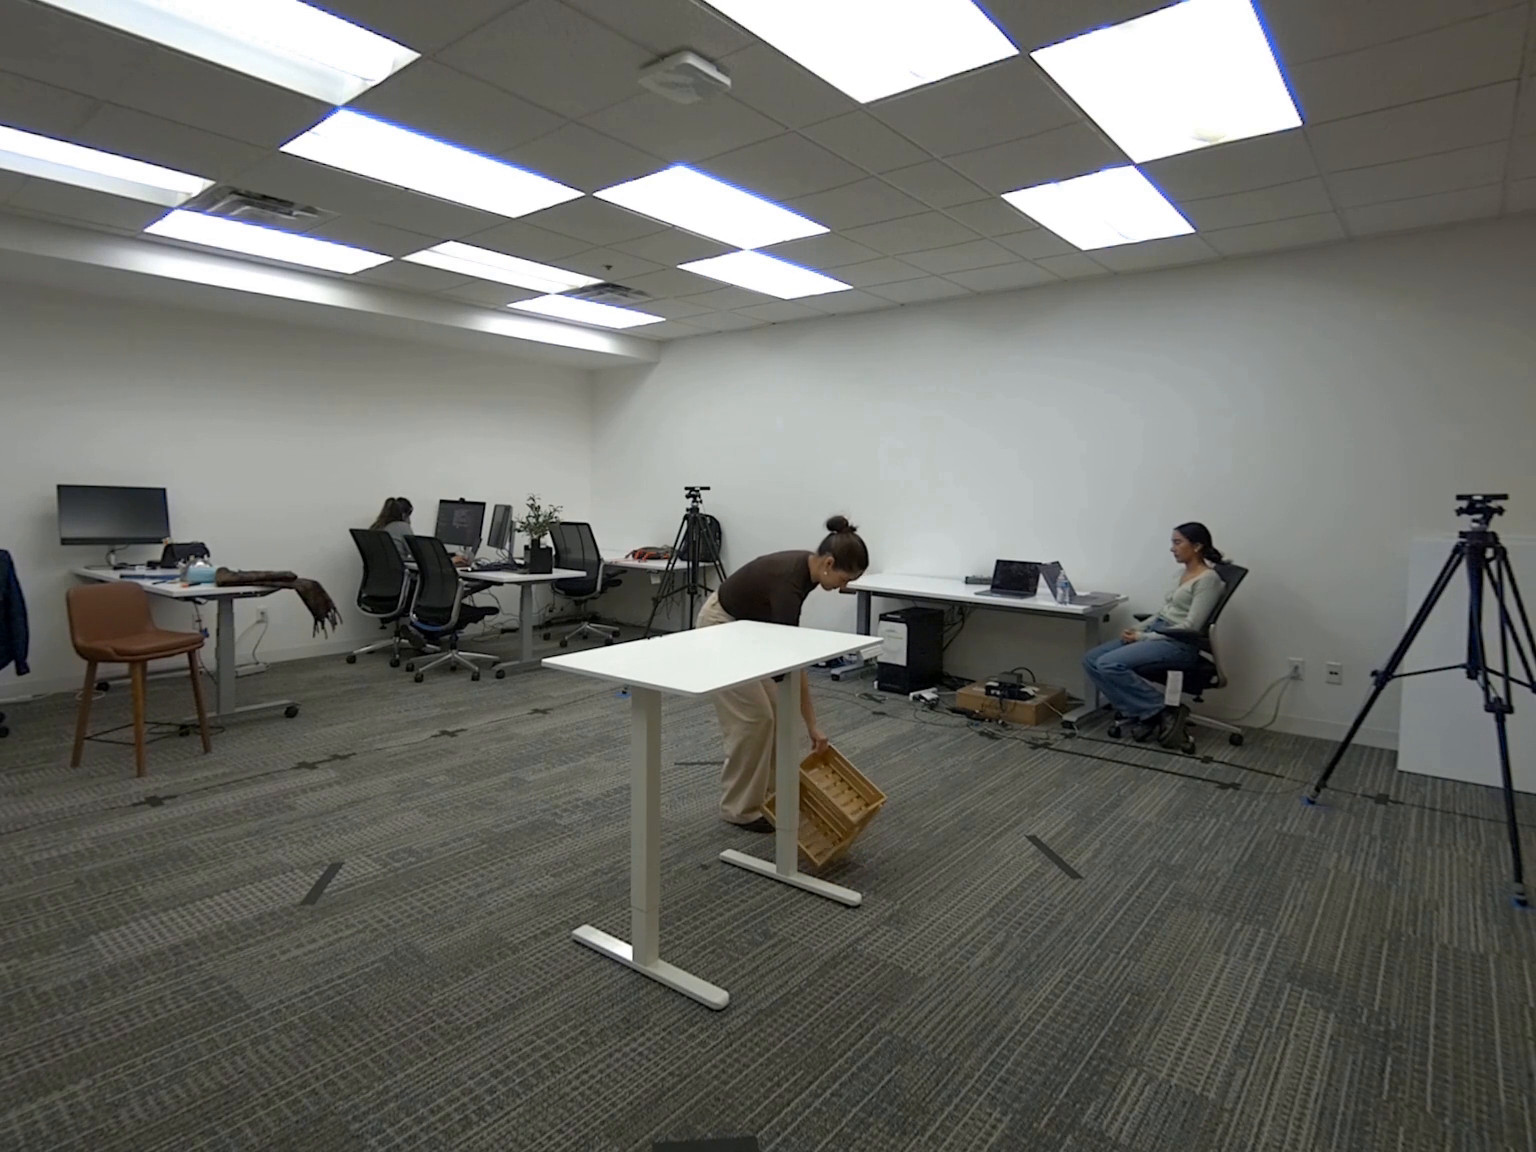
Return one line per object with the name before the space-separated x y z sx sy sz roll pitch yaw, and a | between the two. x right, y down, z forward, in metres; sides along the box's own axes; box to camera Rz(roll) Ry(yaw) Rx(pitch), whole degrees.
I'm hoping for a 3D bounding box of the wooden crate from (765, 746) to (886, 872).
wooden crate | 0.200 0.846 3.182 0.336 0.271 0.294 39 27 26
